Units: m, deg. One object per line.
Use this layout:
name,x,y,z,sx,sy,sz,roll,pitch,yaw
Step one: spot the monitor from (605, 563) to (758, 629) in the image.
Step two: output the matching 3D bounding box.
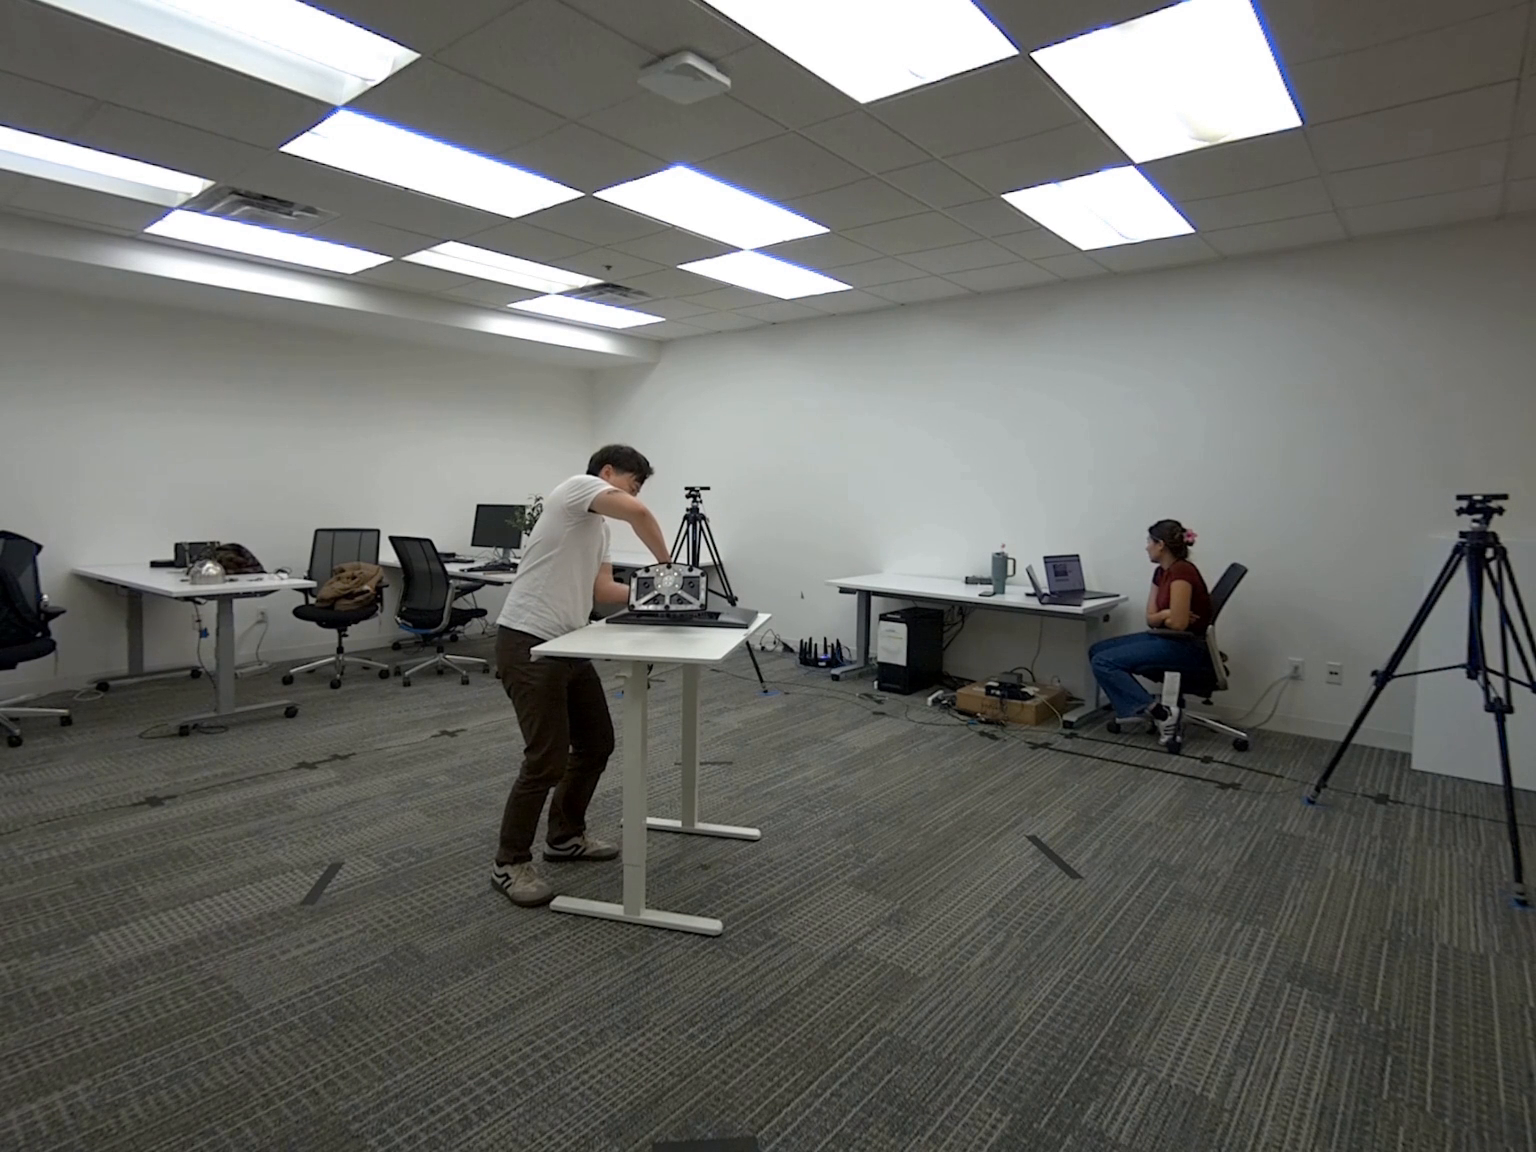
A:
monitor,-0.343,0.109,3.205,0.544,0.189,0.510,4,-15,8
